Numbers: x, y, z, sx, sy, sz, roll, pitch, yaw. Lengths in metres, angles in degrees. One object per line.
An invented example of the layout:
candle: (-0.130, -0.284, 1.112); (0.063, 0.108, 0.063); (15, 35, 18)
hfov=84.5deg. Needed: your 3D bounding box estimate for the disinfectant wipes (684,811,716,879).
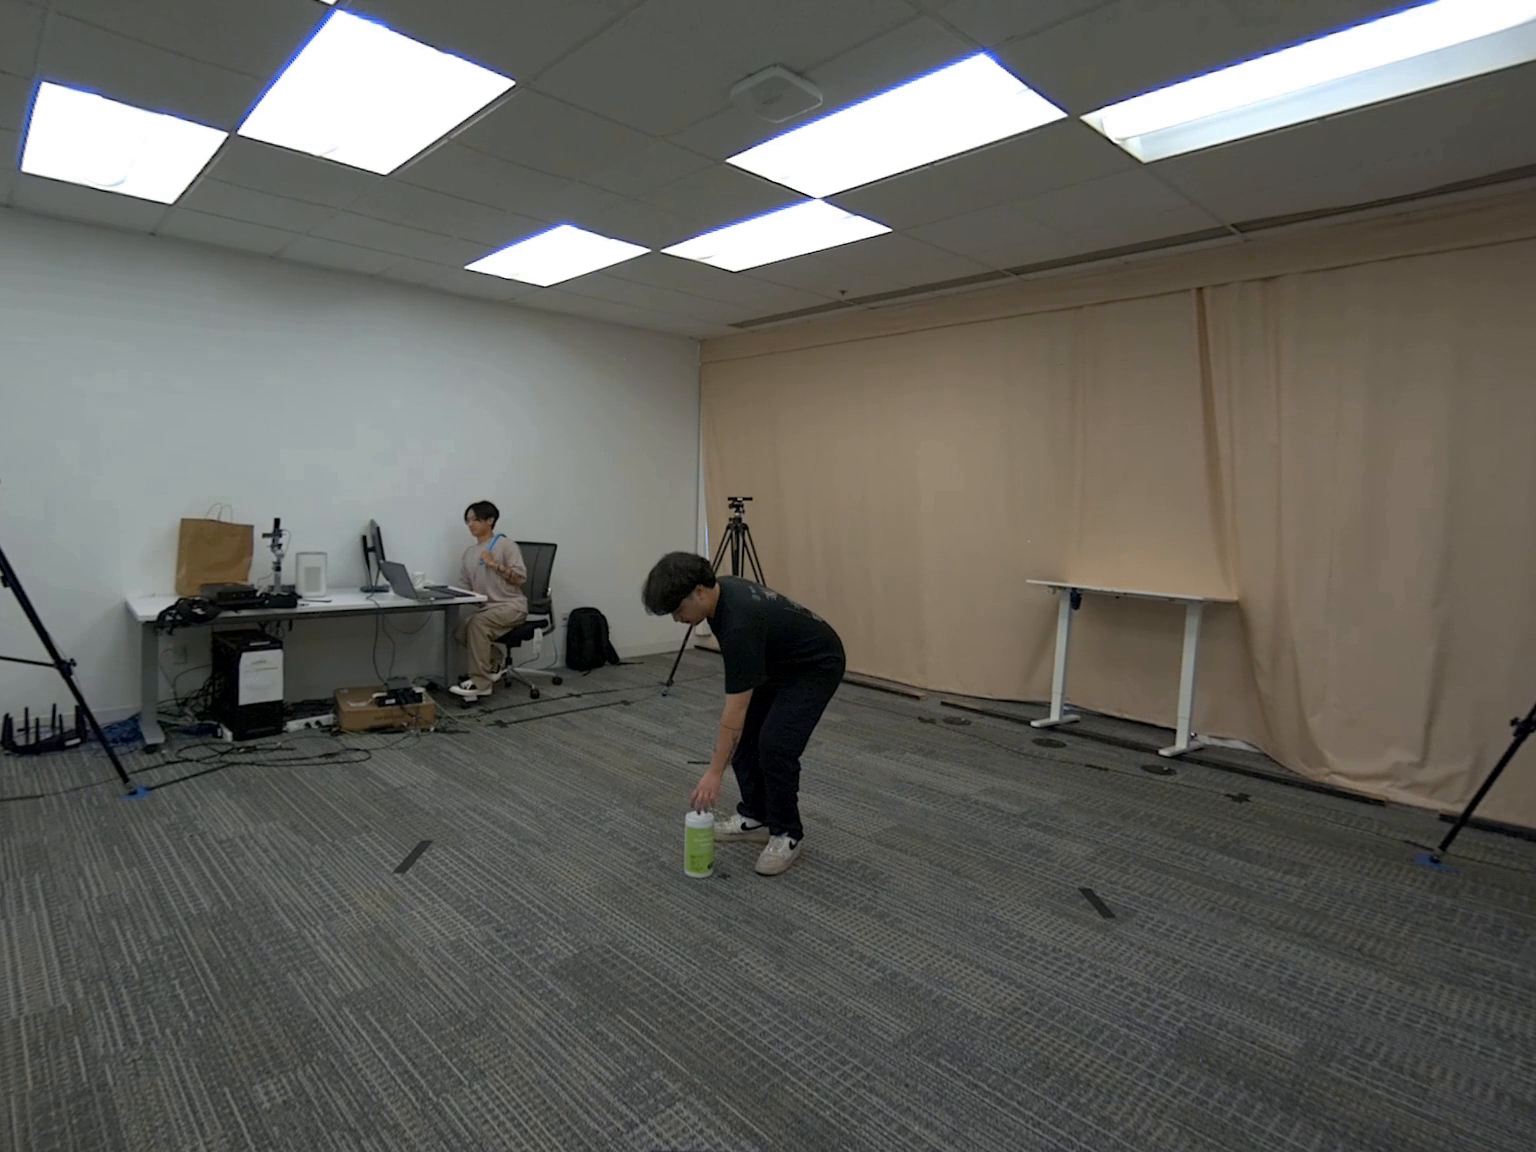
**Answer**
disinfectant wipes: (-0.264, 0.999, 3.121); (0.118, 0.217, 0.118); (2, 3, -2)
